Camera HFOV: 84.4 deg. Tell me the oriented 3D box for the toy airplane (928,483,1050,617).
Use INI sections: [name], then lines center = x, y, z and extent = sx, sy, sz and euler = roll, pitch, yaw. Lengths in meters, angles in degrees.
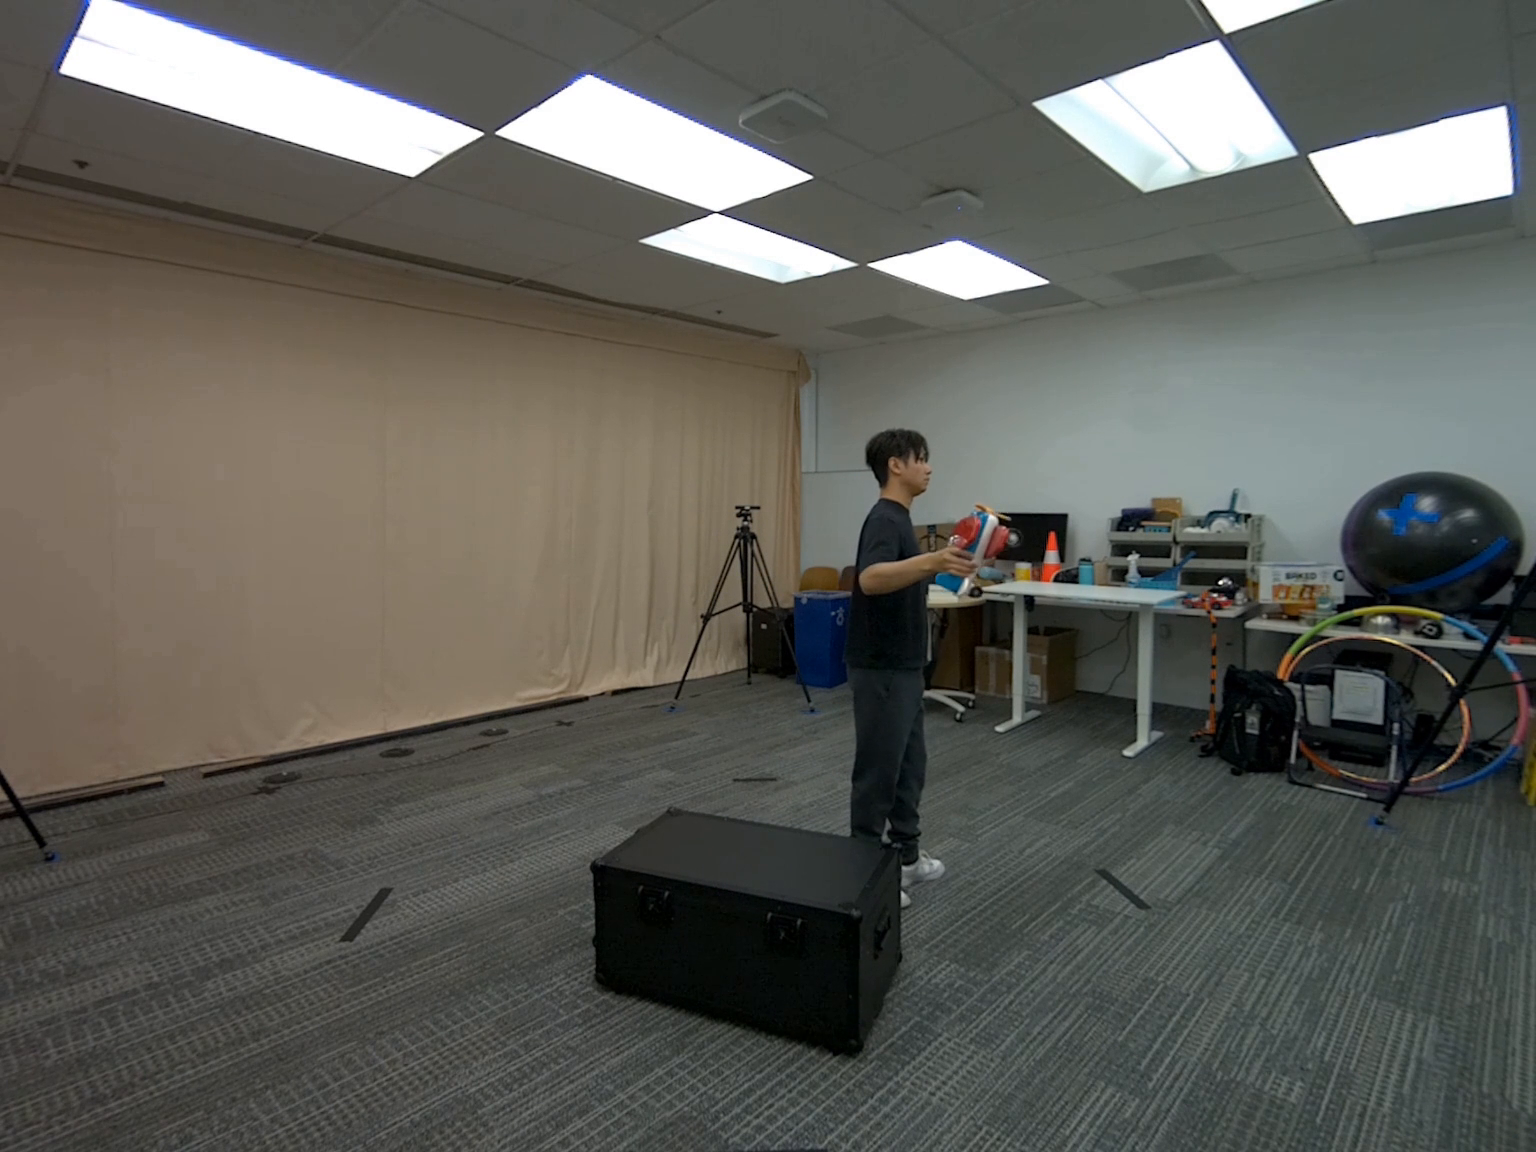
[toy airplane]
center = 0.599, -0.071, 2.374
extent = 0.157, 0.258, 0.252
euler = 39, -29, -1
